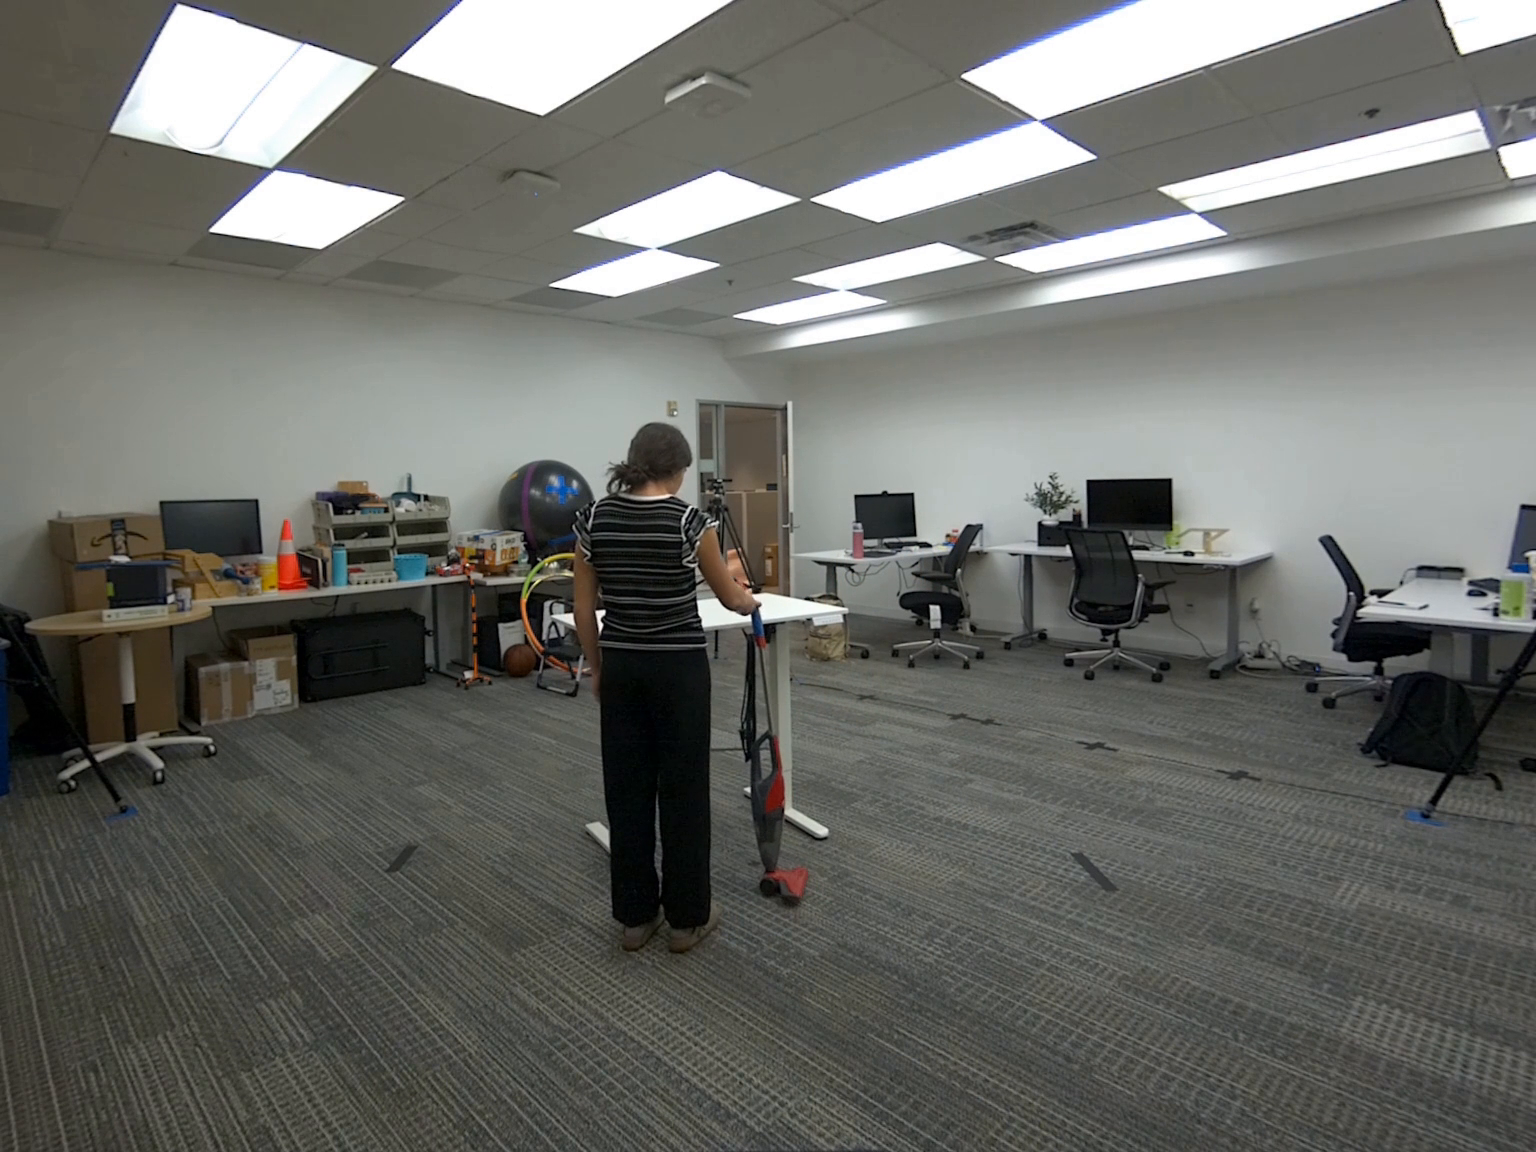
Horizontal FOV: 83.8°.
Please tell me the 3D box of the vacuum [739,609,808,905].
[{"bbox_3d":[-0.031,0.551,2.941,0.145,1.054,0.249,-10,-4,10],"label":"vacuum"}]
